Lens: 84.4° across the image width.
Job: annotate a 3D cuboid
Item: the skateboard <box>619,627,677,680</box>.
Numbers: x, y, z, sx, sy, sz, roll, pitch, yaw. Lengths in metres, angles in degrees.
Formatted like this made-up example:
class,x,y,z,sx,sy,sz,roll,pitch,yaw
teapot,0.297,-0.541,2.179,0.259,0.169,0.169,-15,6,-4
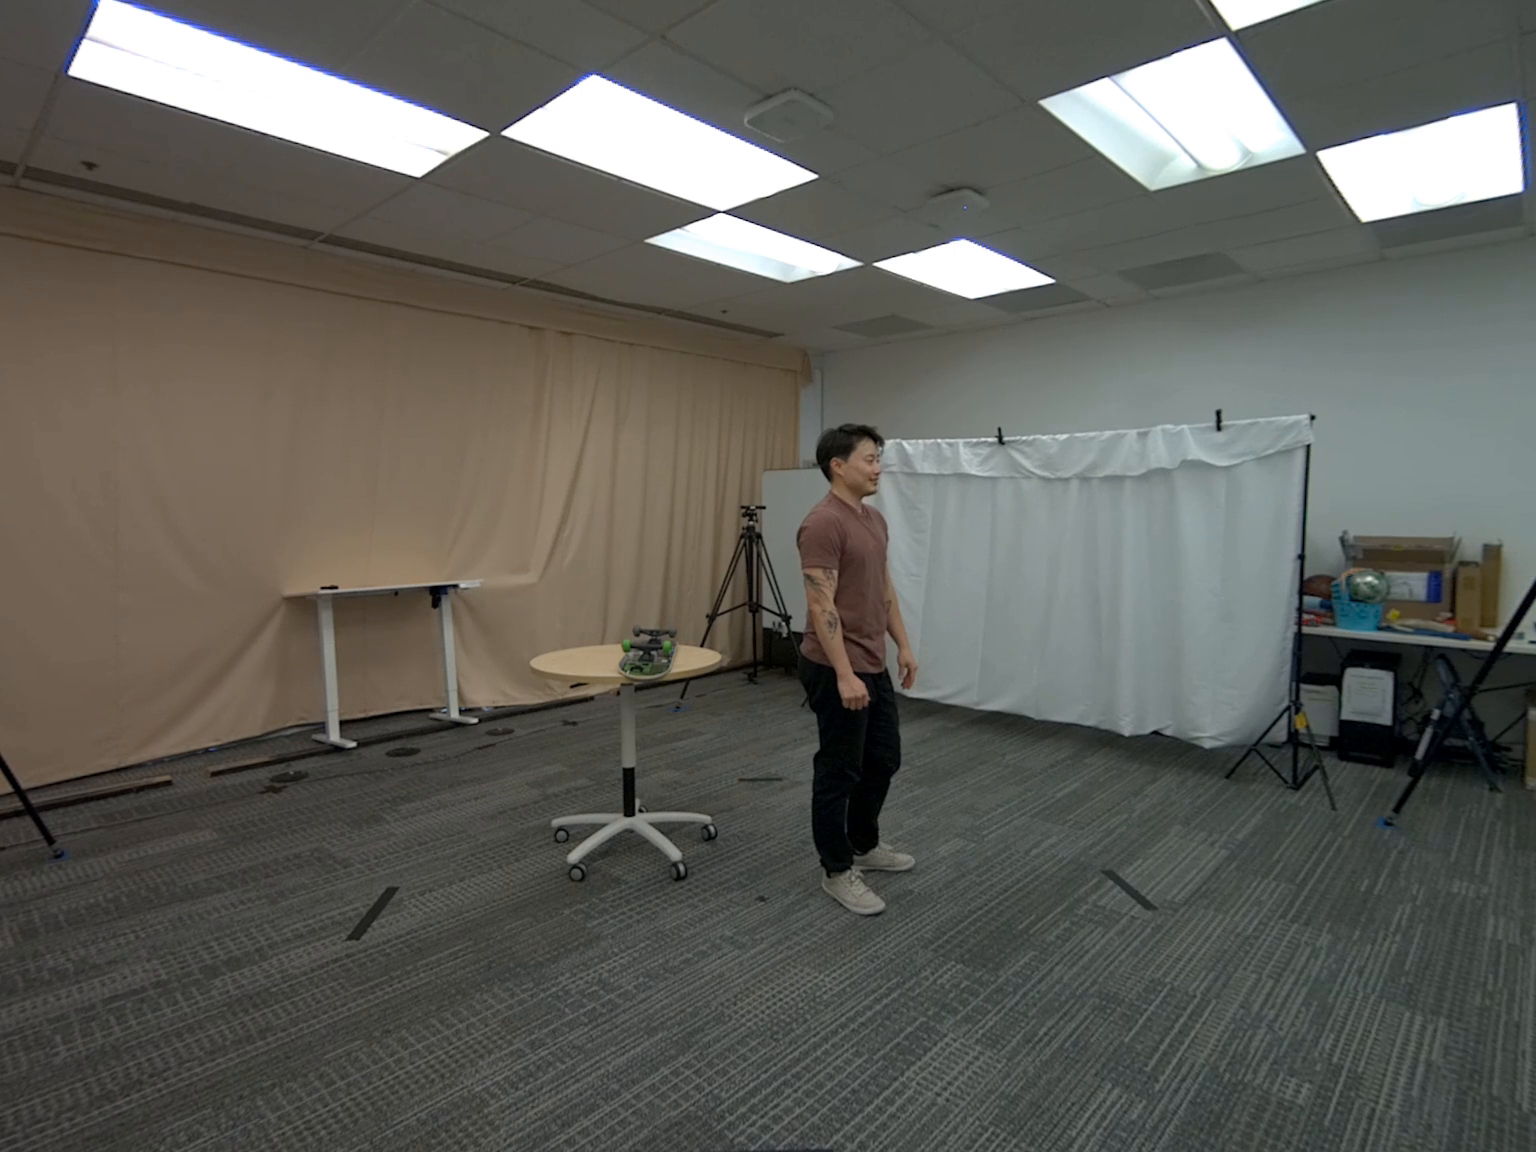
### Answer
class,x,y,z,sx,sy,sz,roll,pitch,yaw
skateboard,-0.468,0.286,3.383,0.193,0.110,0.789,1,4,-4
